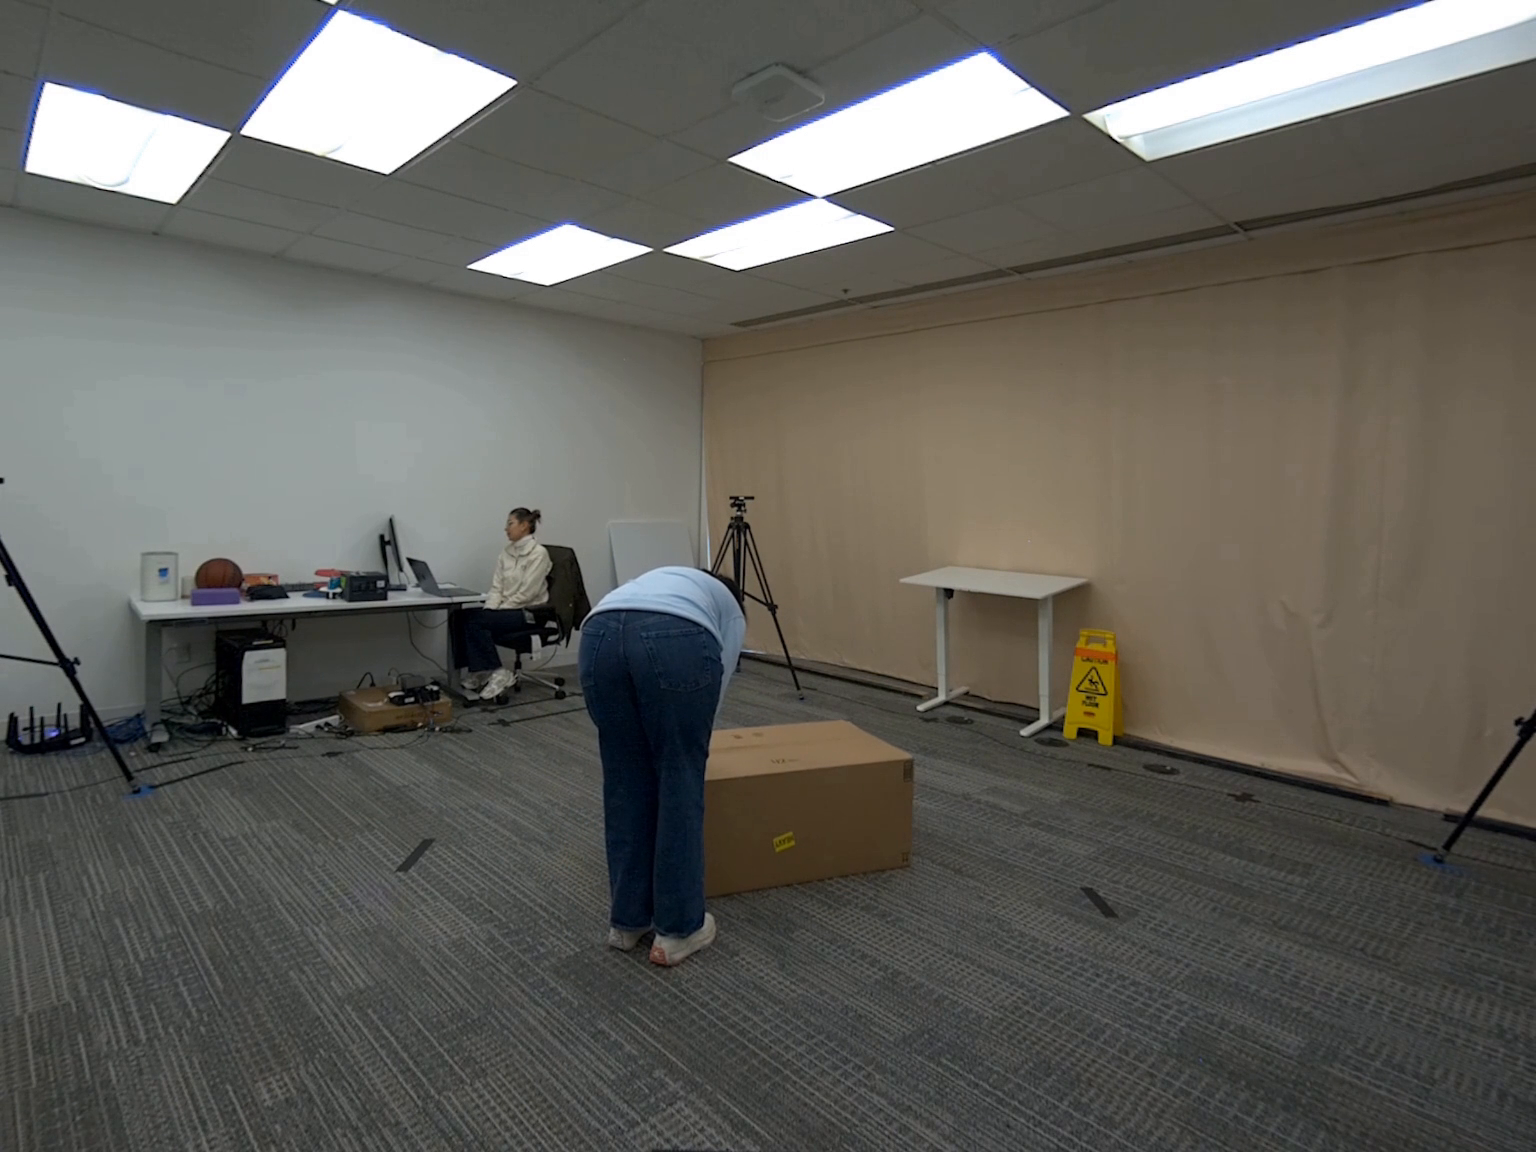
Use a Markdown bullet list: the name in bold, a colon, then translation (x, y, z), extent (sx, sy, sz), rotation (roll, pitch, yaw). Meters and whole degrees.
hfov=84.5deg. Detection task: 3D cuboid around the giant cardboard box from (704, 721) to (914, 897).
- **giant cardboard box**: translation (-0.033, 0.877, 3.287), extent (1.009, 0.425, 0.589), rotation (-1, 5, -22)
